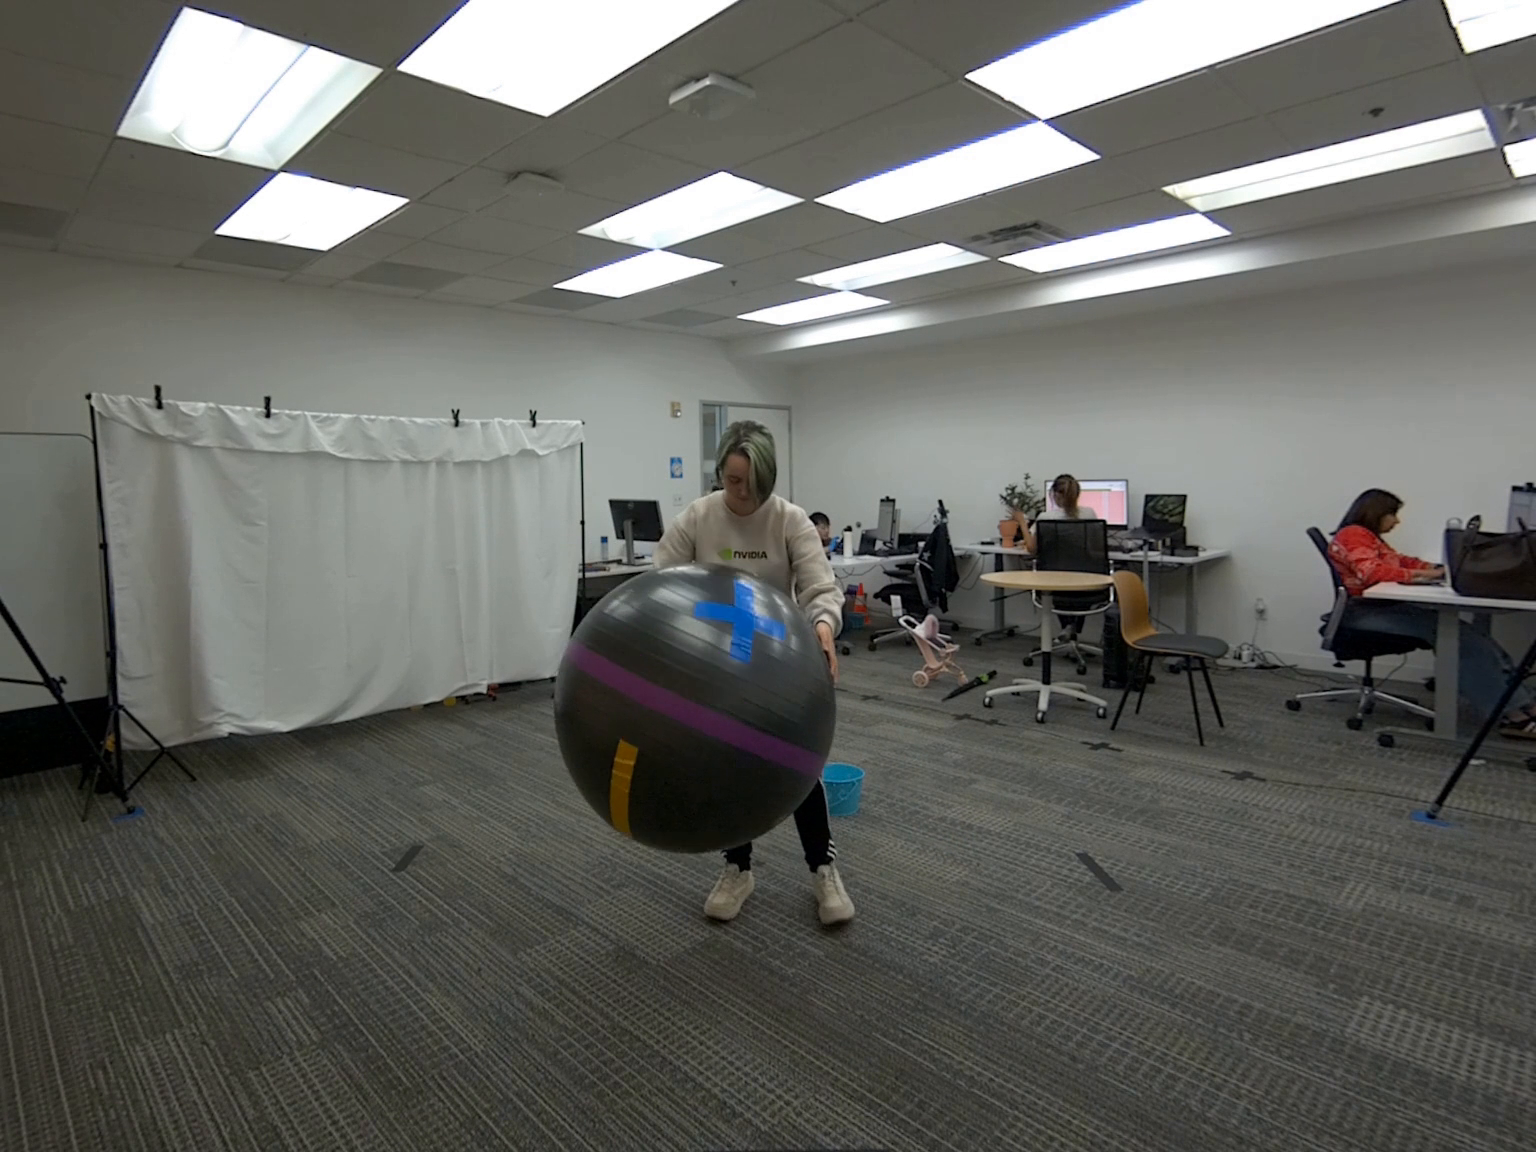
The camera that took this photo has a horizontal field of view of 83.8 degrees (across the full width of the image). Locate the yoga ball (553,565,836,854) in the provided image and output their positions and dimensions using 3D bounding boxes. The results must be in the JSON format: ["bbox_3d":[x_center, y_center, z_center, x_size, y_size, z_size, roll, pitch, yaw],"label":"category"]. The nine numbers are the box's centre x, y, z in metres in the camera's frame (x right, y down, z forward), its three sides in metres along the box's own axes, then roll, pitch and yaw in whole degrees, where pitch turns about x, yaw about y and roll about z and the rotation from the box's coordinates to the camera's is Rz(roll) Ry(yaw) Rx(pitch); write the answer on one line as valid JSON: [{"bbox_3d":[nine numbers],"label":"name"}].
[{"bbox_3d":[-0.196,0.353,2.298,0.757,0.755,0.762,-1,5,-2],"label":"yoga ball"}]
